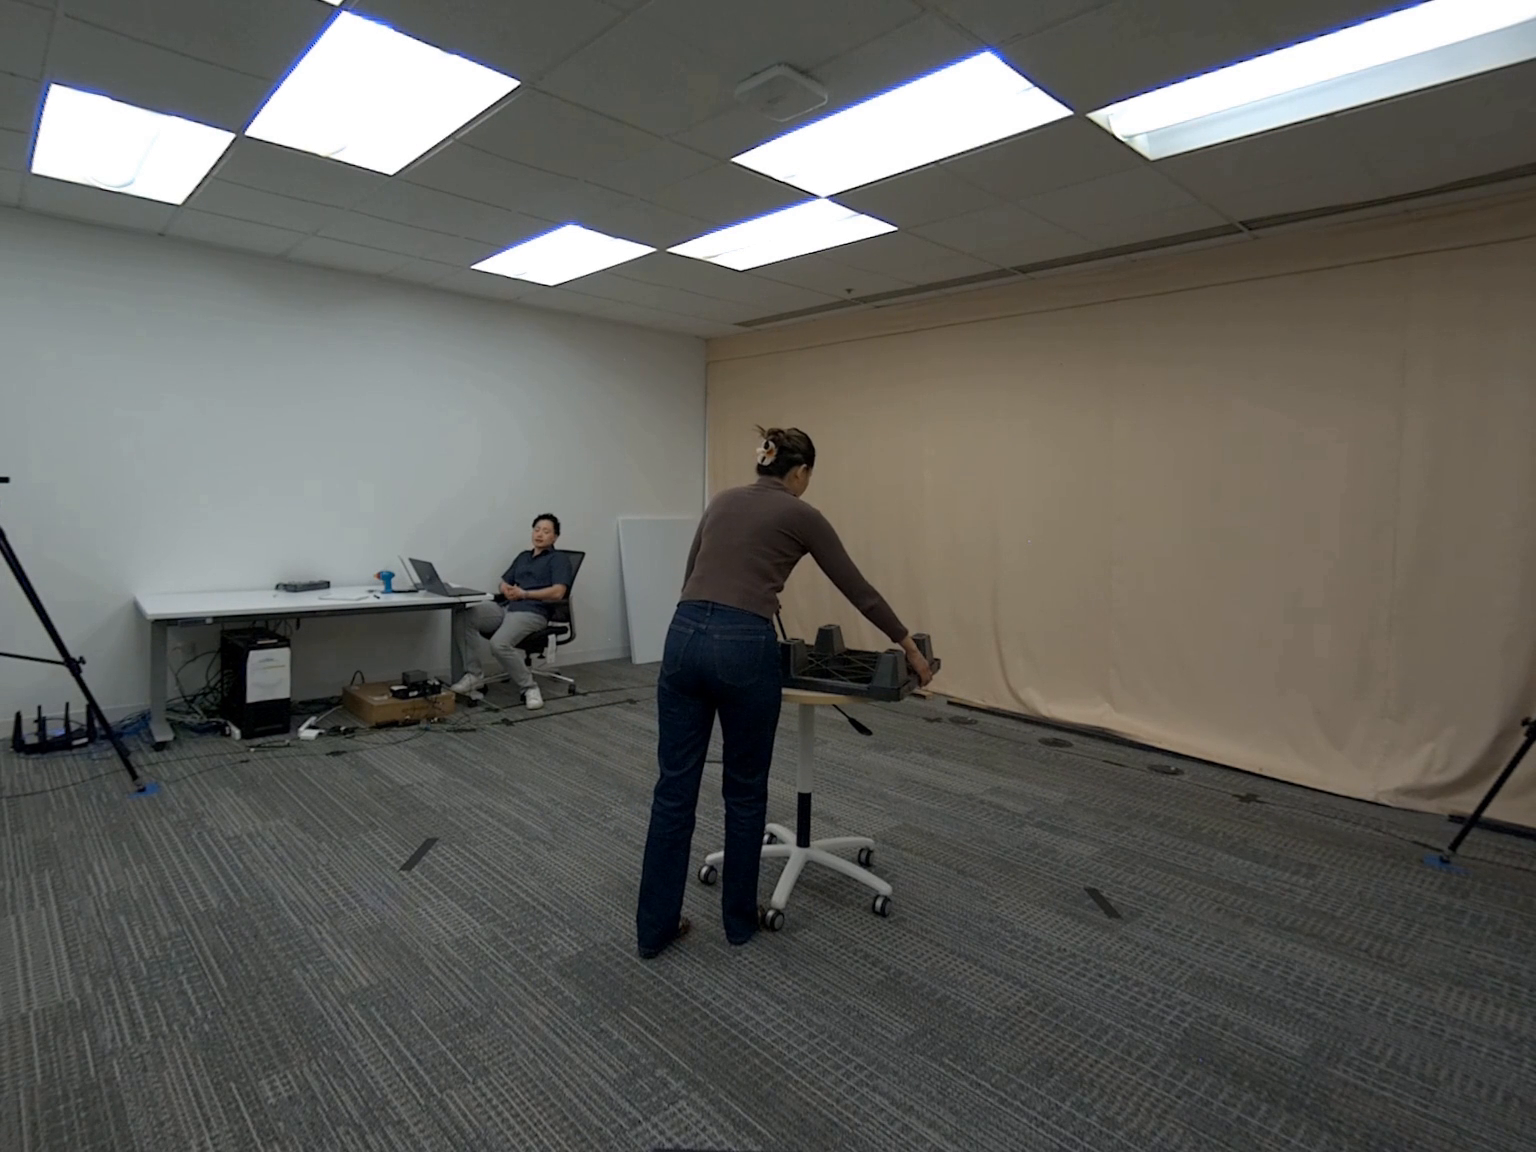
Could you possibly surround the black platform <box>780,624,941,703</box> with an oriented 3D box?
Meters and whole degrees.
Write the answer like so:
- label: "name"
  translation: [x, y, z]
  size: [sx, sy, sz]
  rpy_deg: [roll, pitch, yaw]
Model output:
- label: "black platform"
  translation: [0.140, 0.275, 2.991]
  size: [0.821, 0.143, 0.595]
  rpy_deg: [4, 6, 25]
